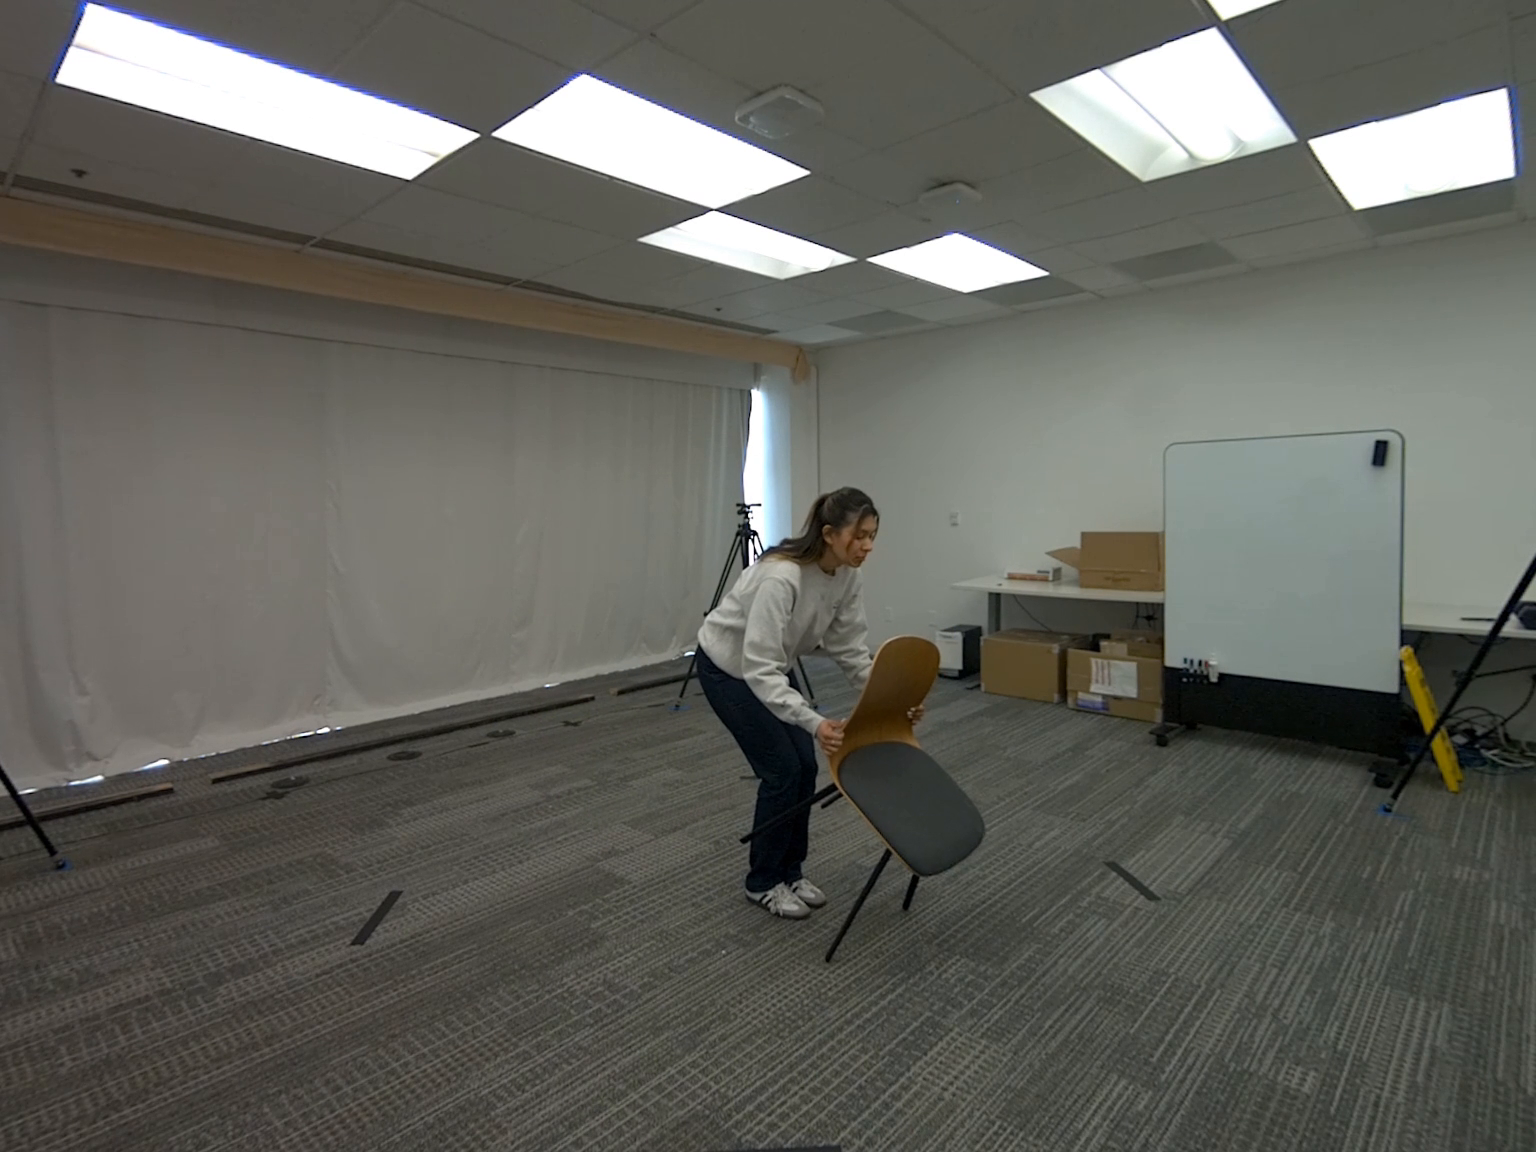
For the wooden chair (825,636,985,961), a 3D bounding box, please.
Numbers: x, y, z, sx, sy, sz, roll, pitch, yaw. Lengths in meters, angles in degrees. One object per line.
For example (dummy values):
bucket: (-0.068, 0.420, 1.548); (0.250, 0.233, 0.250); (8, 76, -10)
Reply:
wooden chair: (0.397, 0.690, 2.611); (0.463, 0.875, 0.540); (-4, 39, -48)
